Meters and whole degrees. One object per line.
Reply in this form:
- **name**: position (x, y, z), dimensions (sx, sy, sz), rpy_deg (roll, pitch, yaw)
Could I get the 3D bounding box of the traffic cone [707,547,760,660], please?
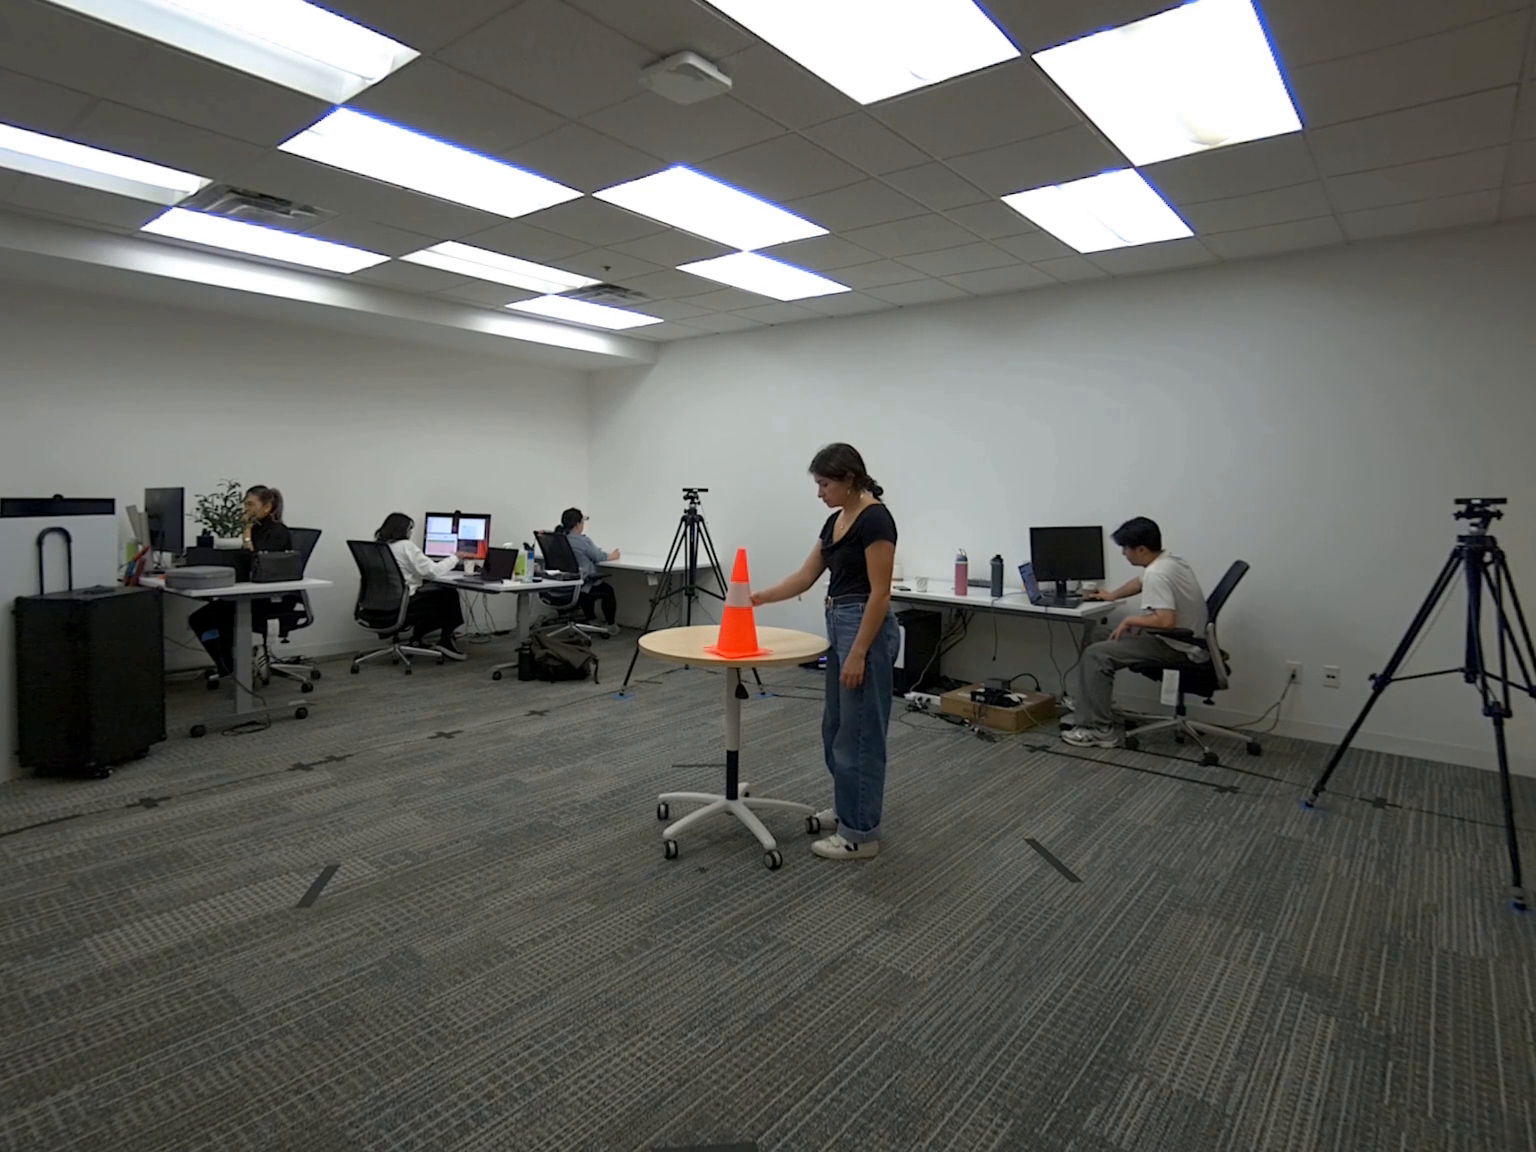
- **traffic cone**: position (-0.101, 0.084, 3.174), dimensions (0.199, 0.382, 0.210), rpy_deg (0, 5, -34)
